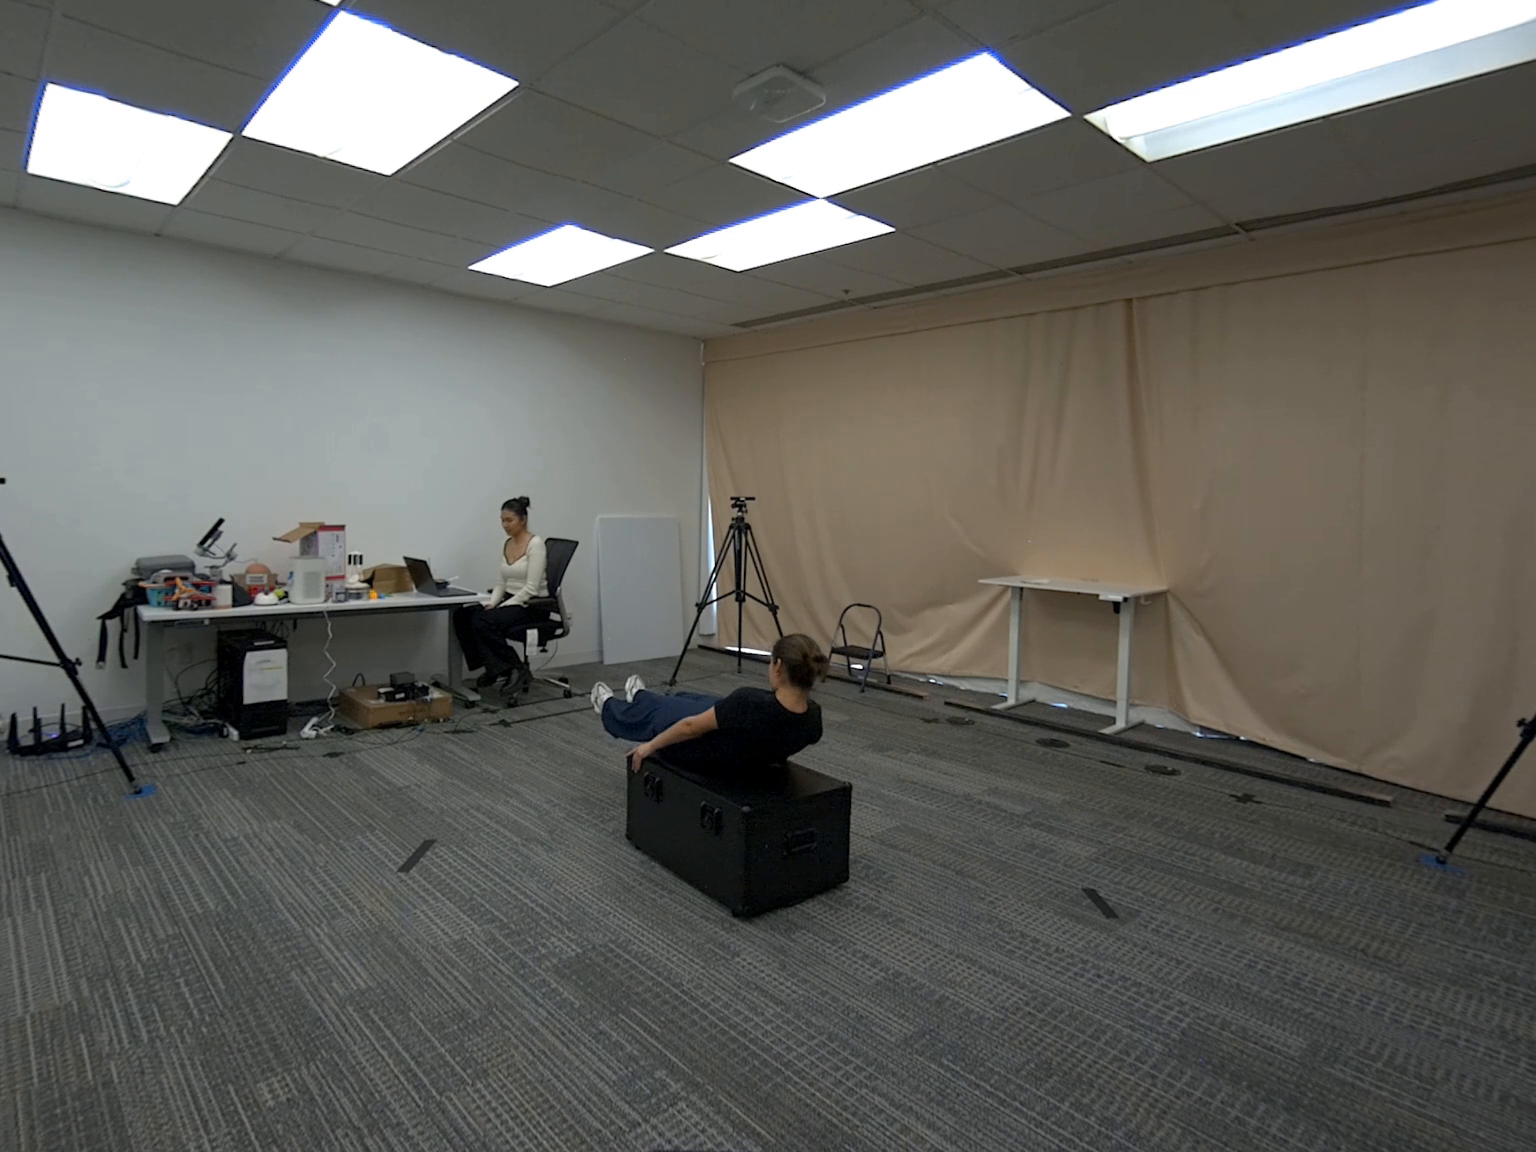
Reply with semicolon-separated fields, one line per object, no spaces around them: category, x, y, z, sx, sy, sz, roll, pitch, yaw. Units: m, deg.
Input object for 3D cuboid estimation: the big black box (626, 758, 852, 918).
big black box;-0.120;0.916;3.149;0.510;0.395;0.883;-3;5;-38
